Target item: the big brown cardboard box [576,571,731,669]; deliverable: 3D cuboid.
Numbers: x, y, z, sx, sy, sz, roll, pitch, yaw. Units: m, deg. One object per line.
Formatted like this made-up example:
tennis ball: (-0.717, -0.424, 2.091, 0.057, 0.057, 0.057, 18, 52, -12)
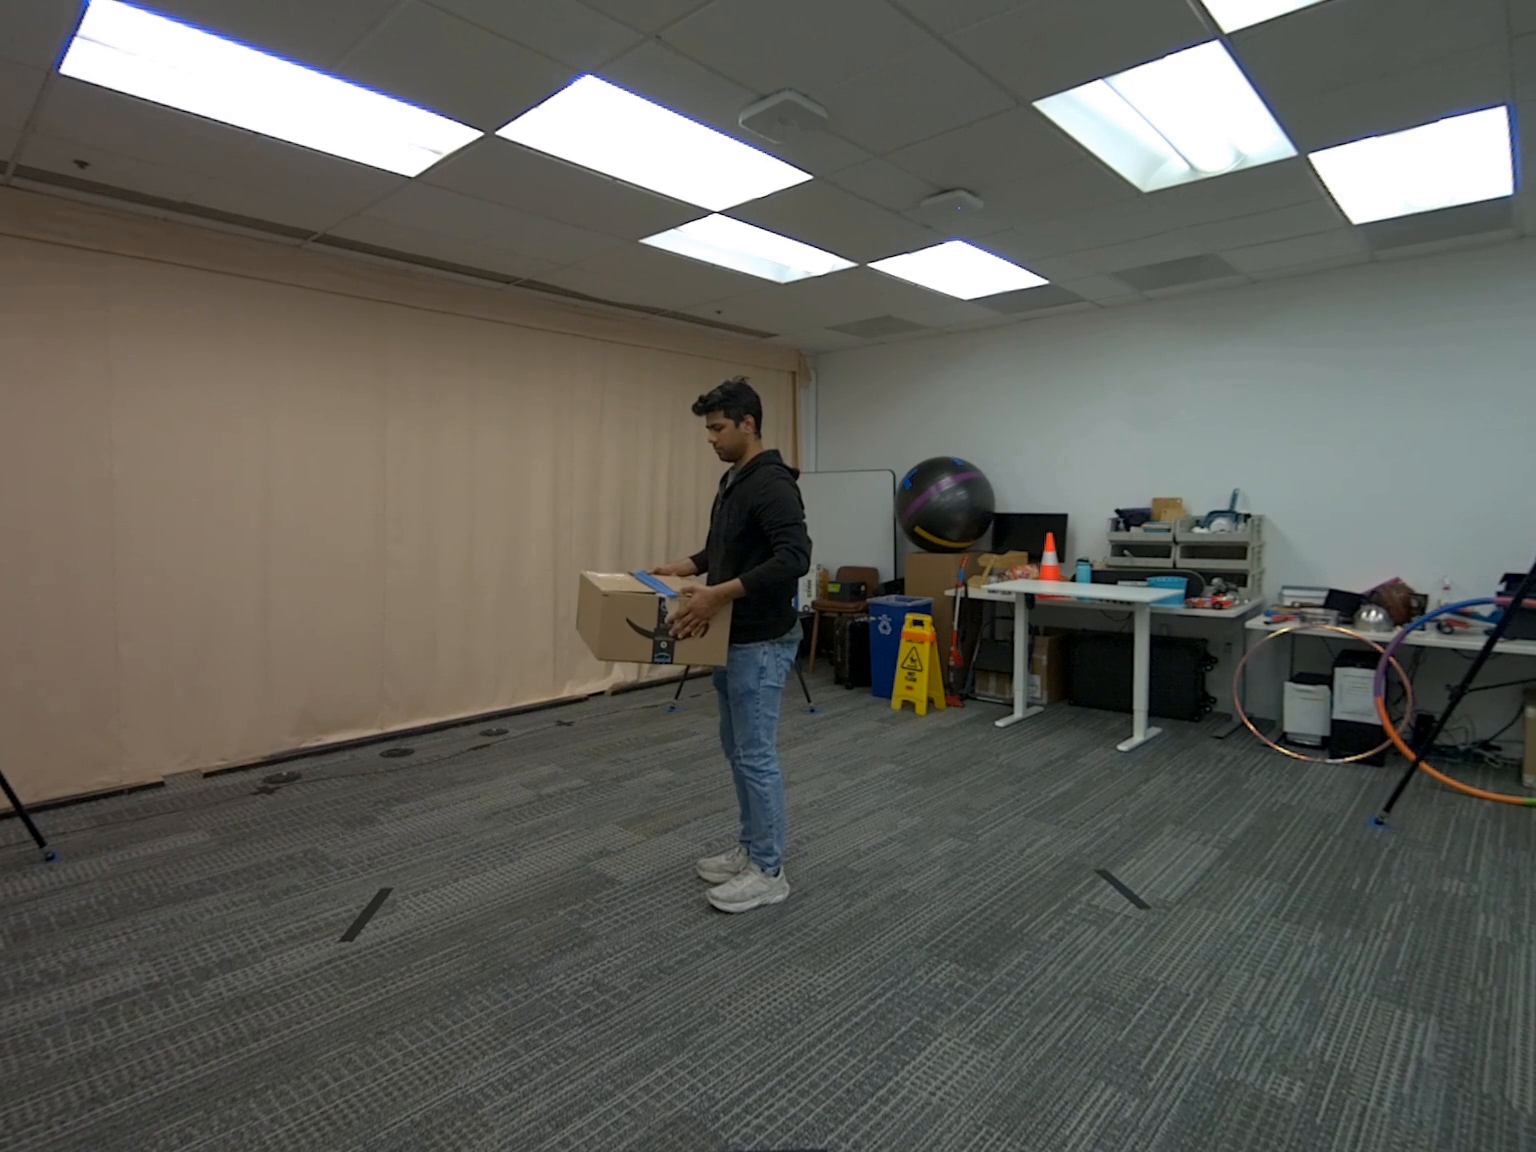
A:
big brown cardboard box: (-0.405, 0.132, 2.888, 0.409, 0.232, 0.602, 3, 5, -19)
